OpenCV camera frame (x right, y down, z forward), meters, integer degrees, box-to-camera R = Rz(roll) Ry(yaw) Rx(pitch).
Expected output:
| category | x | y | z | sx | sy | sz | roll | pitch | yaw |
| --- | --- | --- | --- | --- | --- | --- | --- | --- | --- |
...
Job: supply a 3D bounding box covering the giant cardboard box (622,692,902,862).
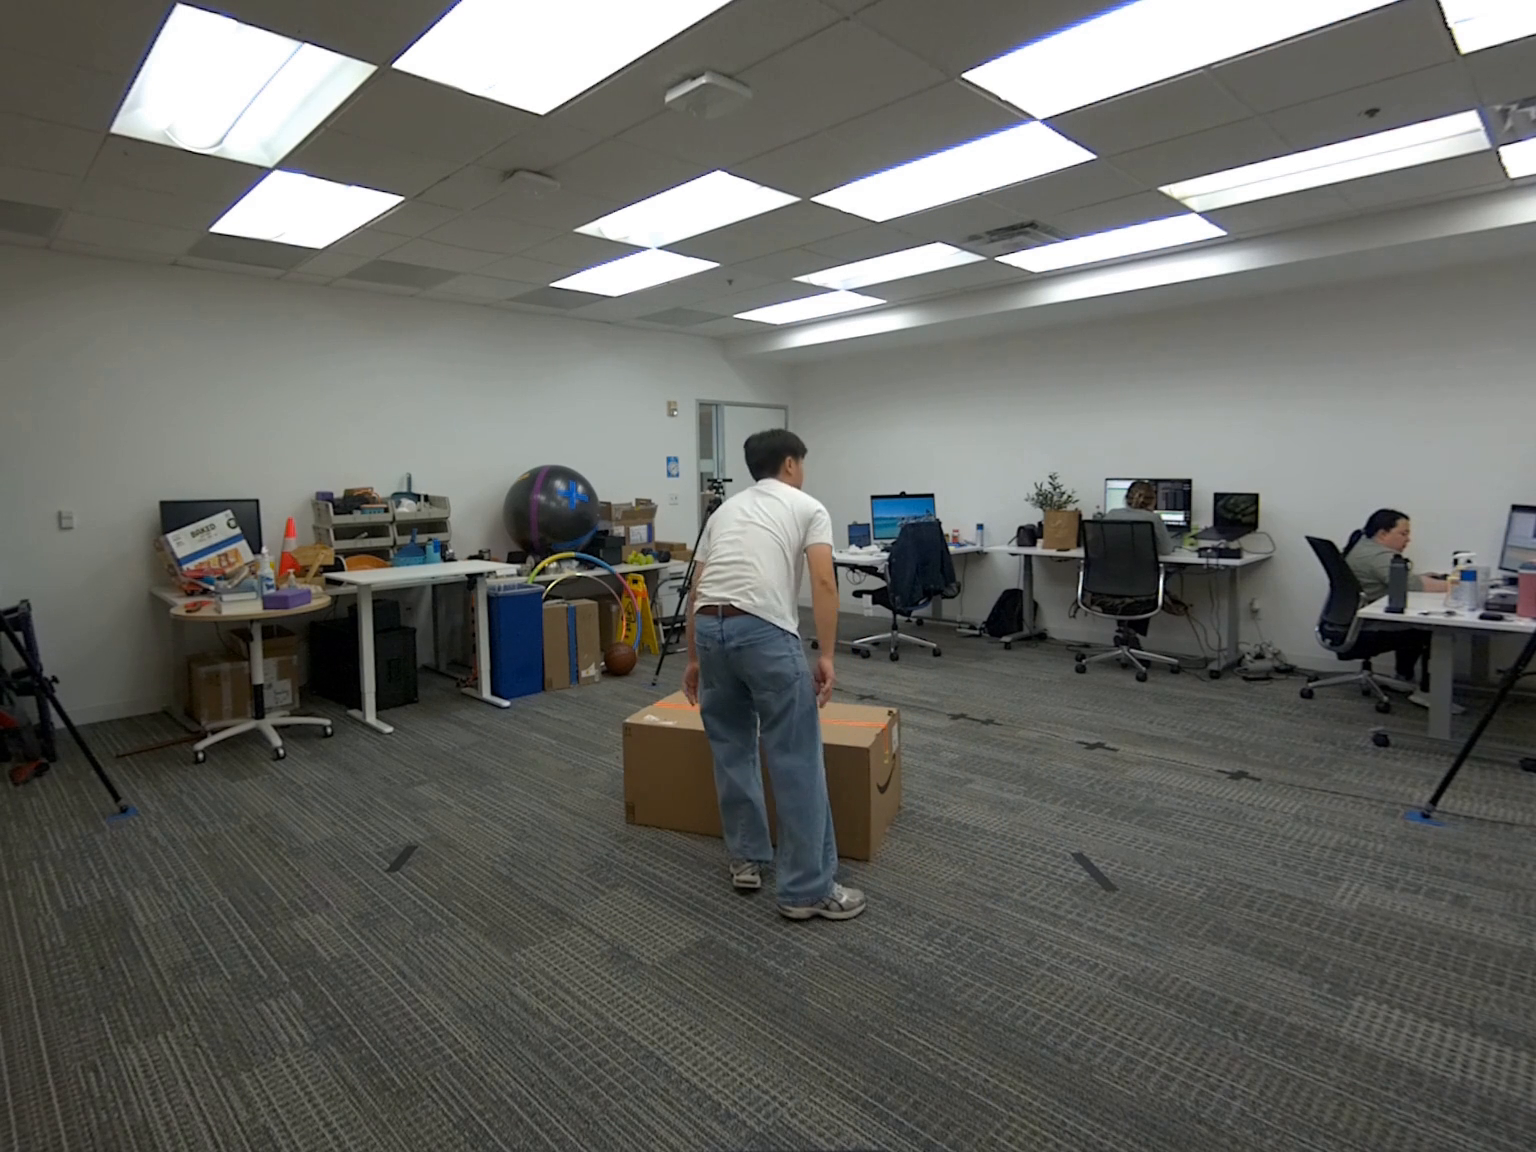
| category | x | y | z | sx | sy | sz | roll | pitch | yaw |
| --- | --- | --- | --- | --- | --- | --- | --- | --- | --- |
| giant cardboard box | -0.013 | 0.779 | 3.548 | 1.047 | 0.424 | 0.568 | 2 | 7 | 22 |
